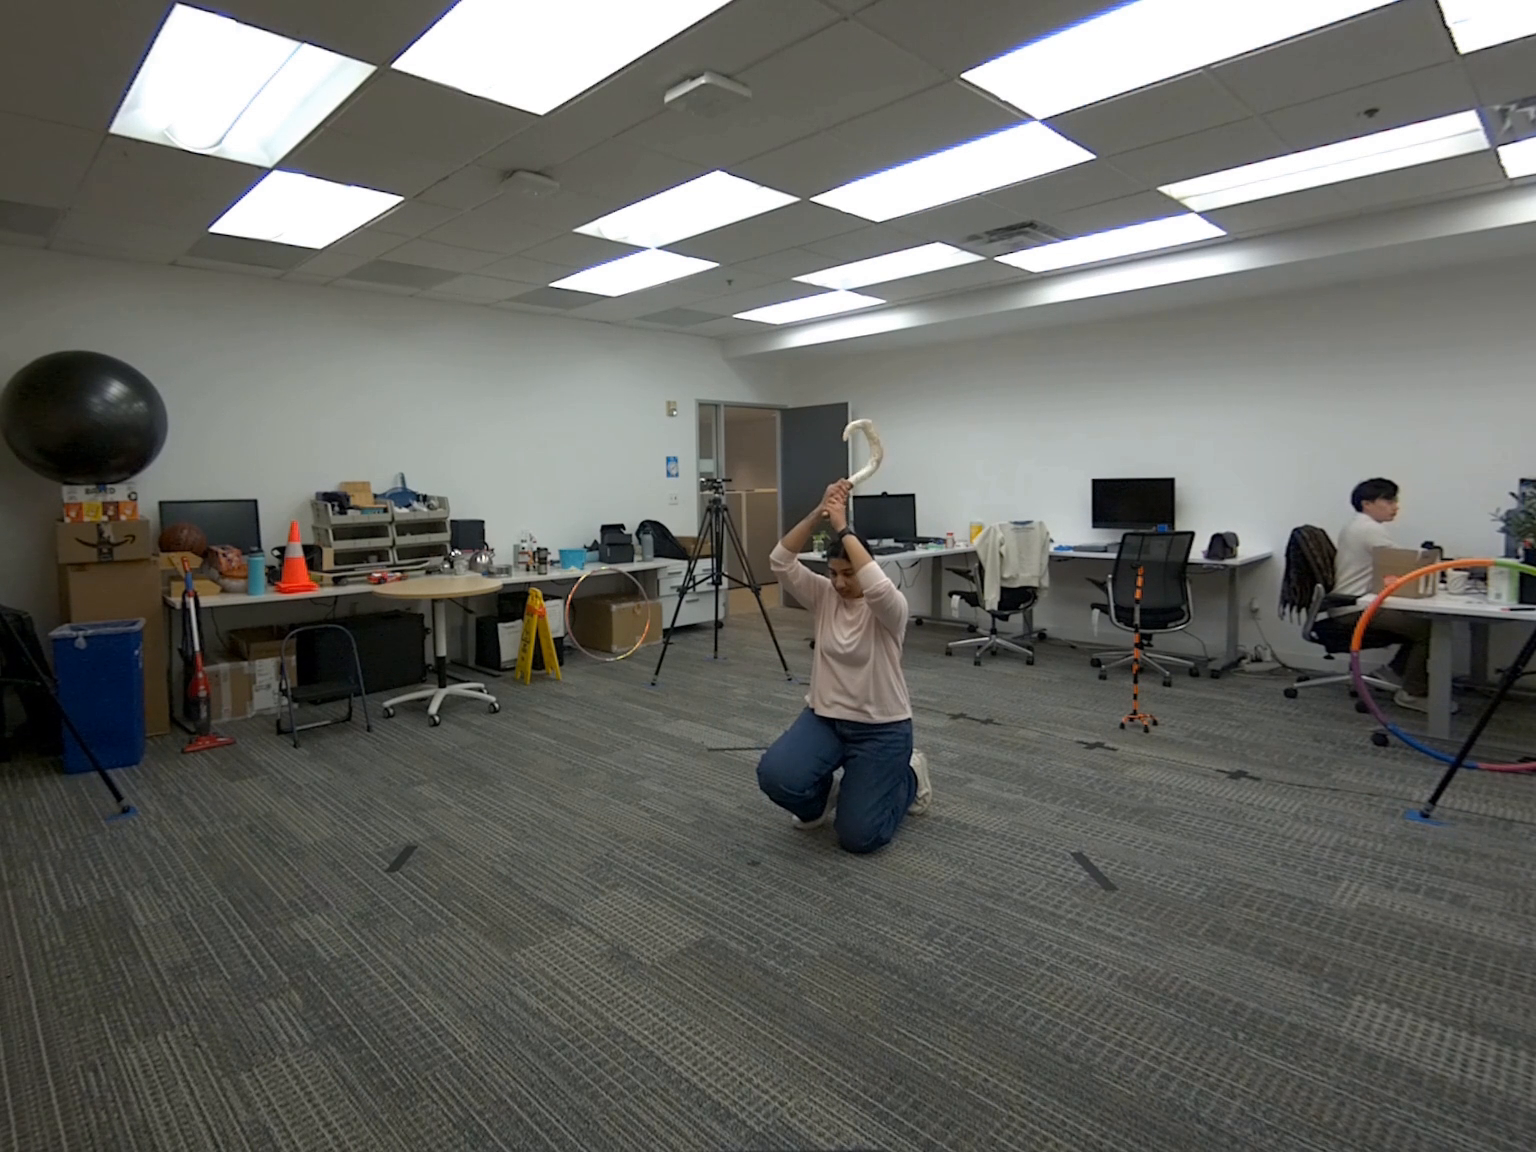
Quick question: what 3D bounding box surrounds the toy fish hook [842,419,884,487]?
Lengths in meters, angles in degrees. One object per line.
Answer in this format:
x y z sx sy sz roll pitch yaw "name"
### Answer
0.302 -0.407 3.220 0.049 0.219 0.509 -13 33 45 "toy fish hook"
